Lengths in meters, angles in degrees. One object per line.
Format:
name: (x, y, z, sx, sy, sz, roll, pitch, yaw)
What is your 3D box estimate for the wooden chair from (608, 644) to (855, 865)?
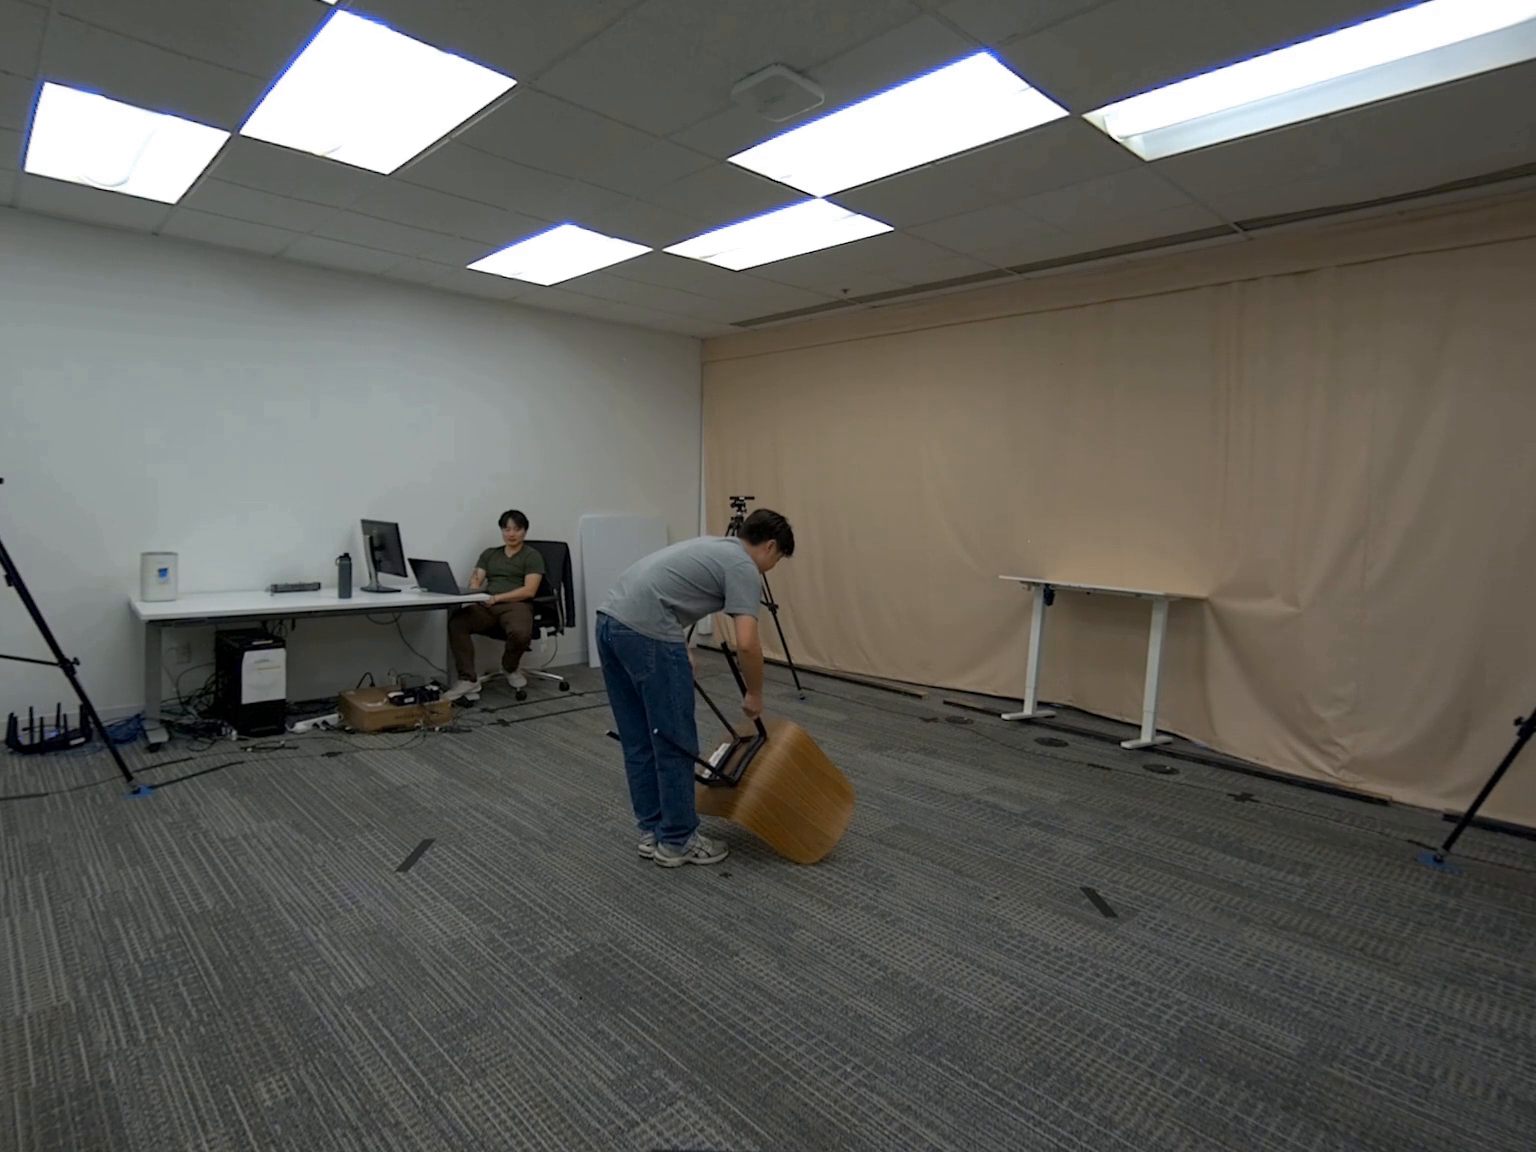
wooden chair: (-0.134, 0.734, 3.403, 0.479, 0.867, 0.528, -52, 13, -30)
